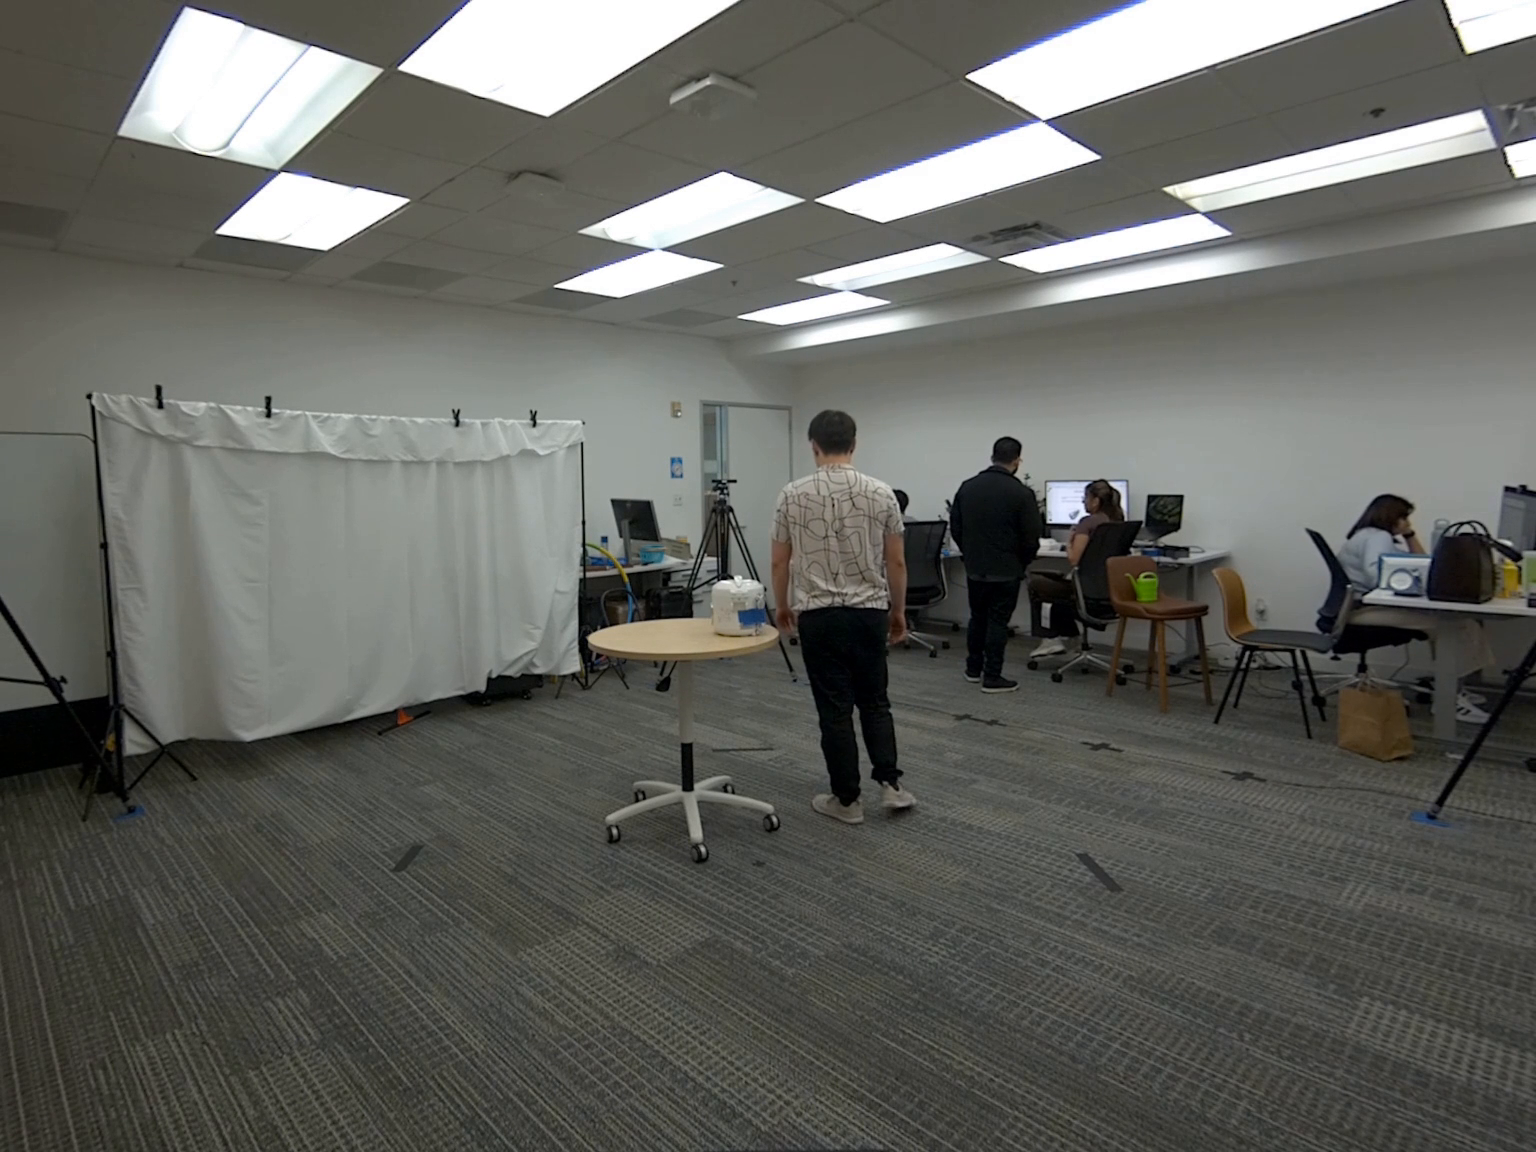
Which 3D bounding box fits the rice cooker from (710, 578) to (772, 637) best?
[{"bbox_3d":[-0.123,0.113,3.423,0.217,0.232,0.222,-1,6,-3],"label":"rice cooker"}]
